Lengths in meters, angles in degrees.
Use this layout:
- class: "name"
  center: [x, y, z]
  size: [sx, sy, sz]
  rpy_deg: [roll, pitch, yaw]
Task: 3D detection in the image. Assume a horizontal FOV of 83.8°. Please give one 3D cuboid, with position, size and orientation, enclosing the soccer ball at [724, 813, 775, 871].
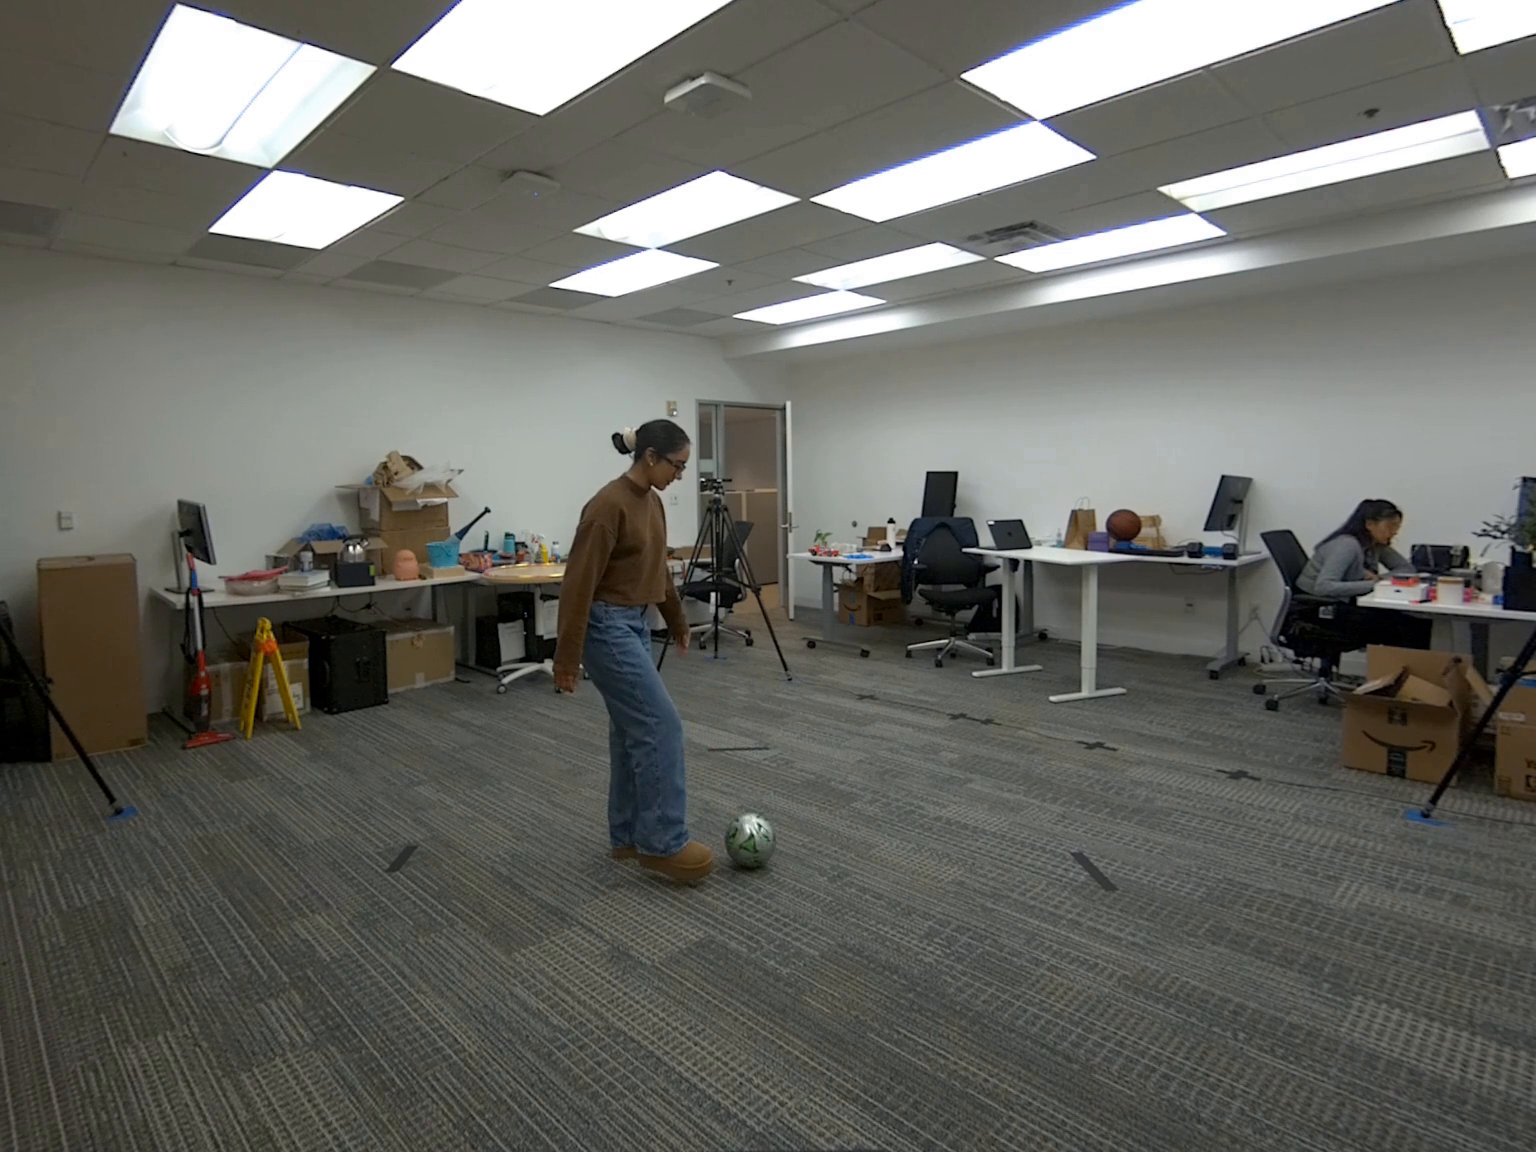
- class: "soccer ball"
  center: [-0.061, 0.948, 3.079]
  size: [0.187, 0.187, 0.188]
  rpy_deg: [-1, 5, -2]
